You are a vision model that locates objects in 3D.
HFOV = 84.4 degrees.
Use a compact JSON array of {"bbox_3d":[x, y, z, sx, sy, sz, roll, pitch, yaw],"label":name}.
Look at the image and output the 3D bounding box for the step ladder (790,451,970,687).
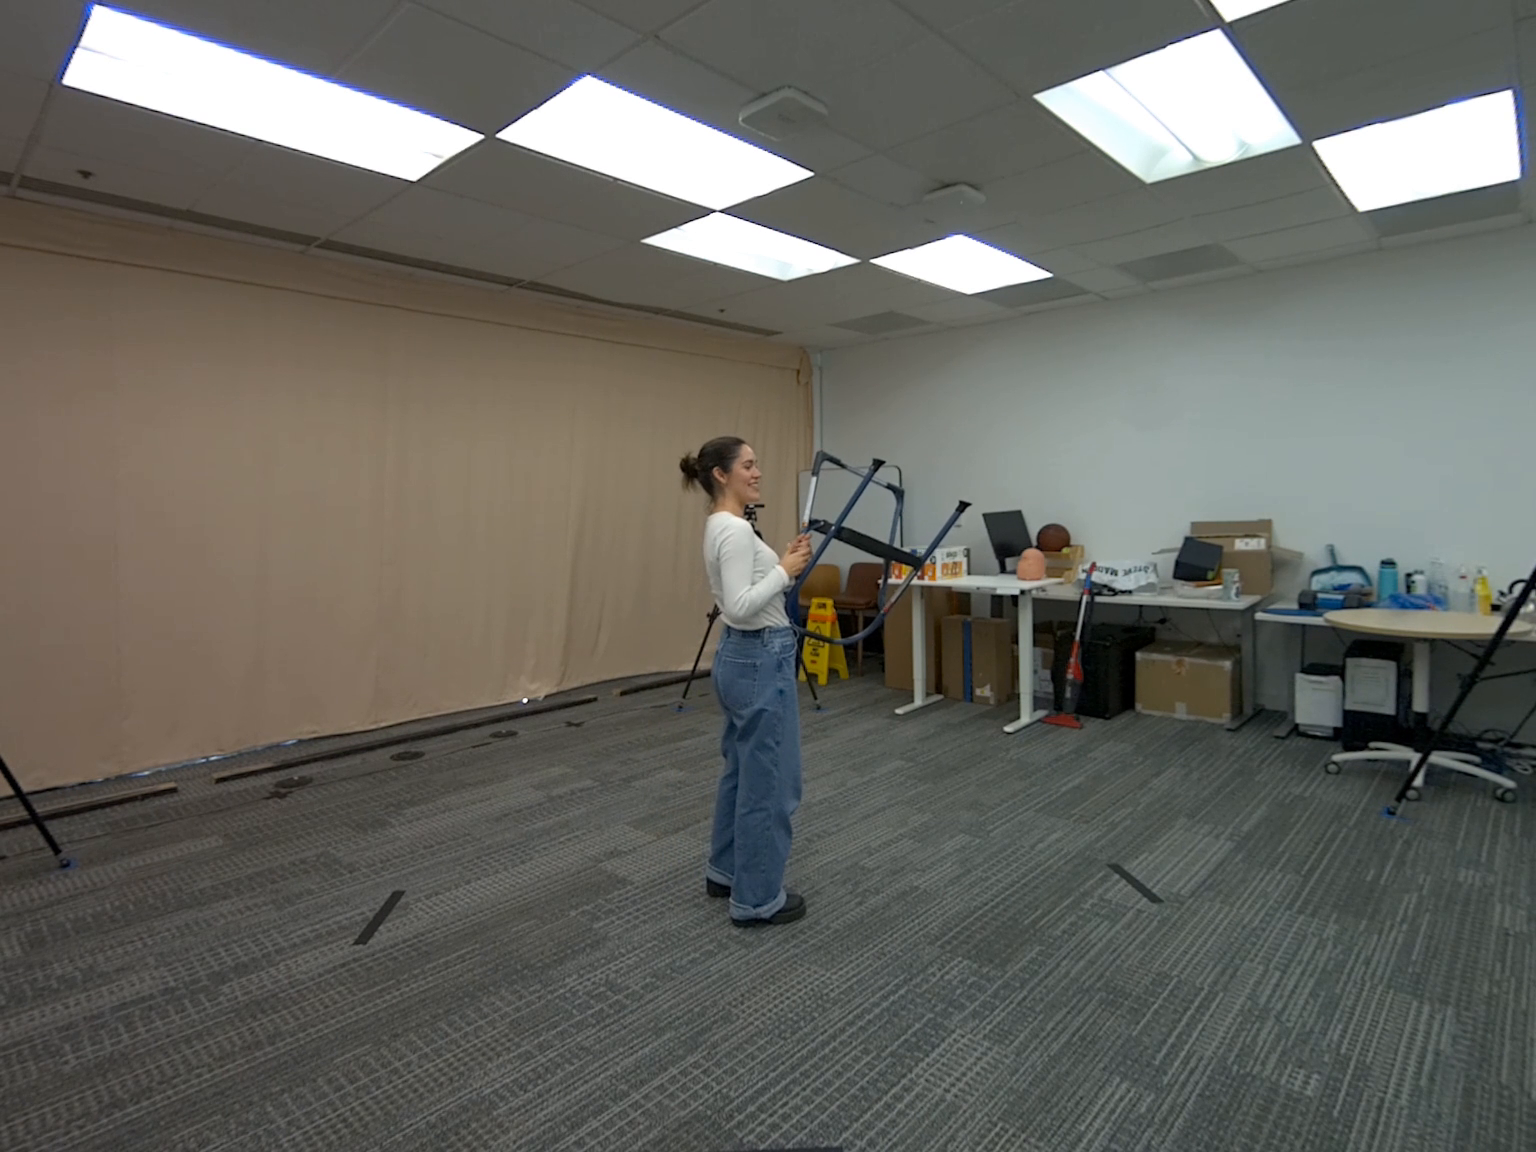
[{"bbox_3d":[0.314,-0.050,2.805,0.417,0.606,0.361,20,2,-32],"label":"step ladder"}]
